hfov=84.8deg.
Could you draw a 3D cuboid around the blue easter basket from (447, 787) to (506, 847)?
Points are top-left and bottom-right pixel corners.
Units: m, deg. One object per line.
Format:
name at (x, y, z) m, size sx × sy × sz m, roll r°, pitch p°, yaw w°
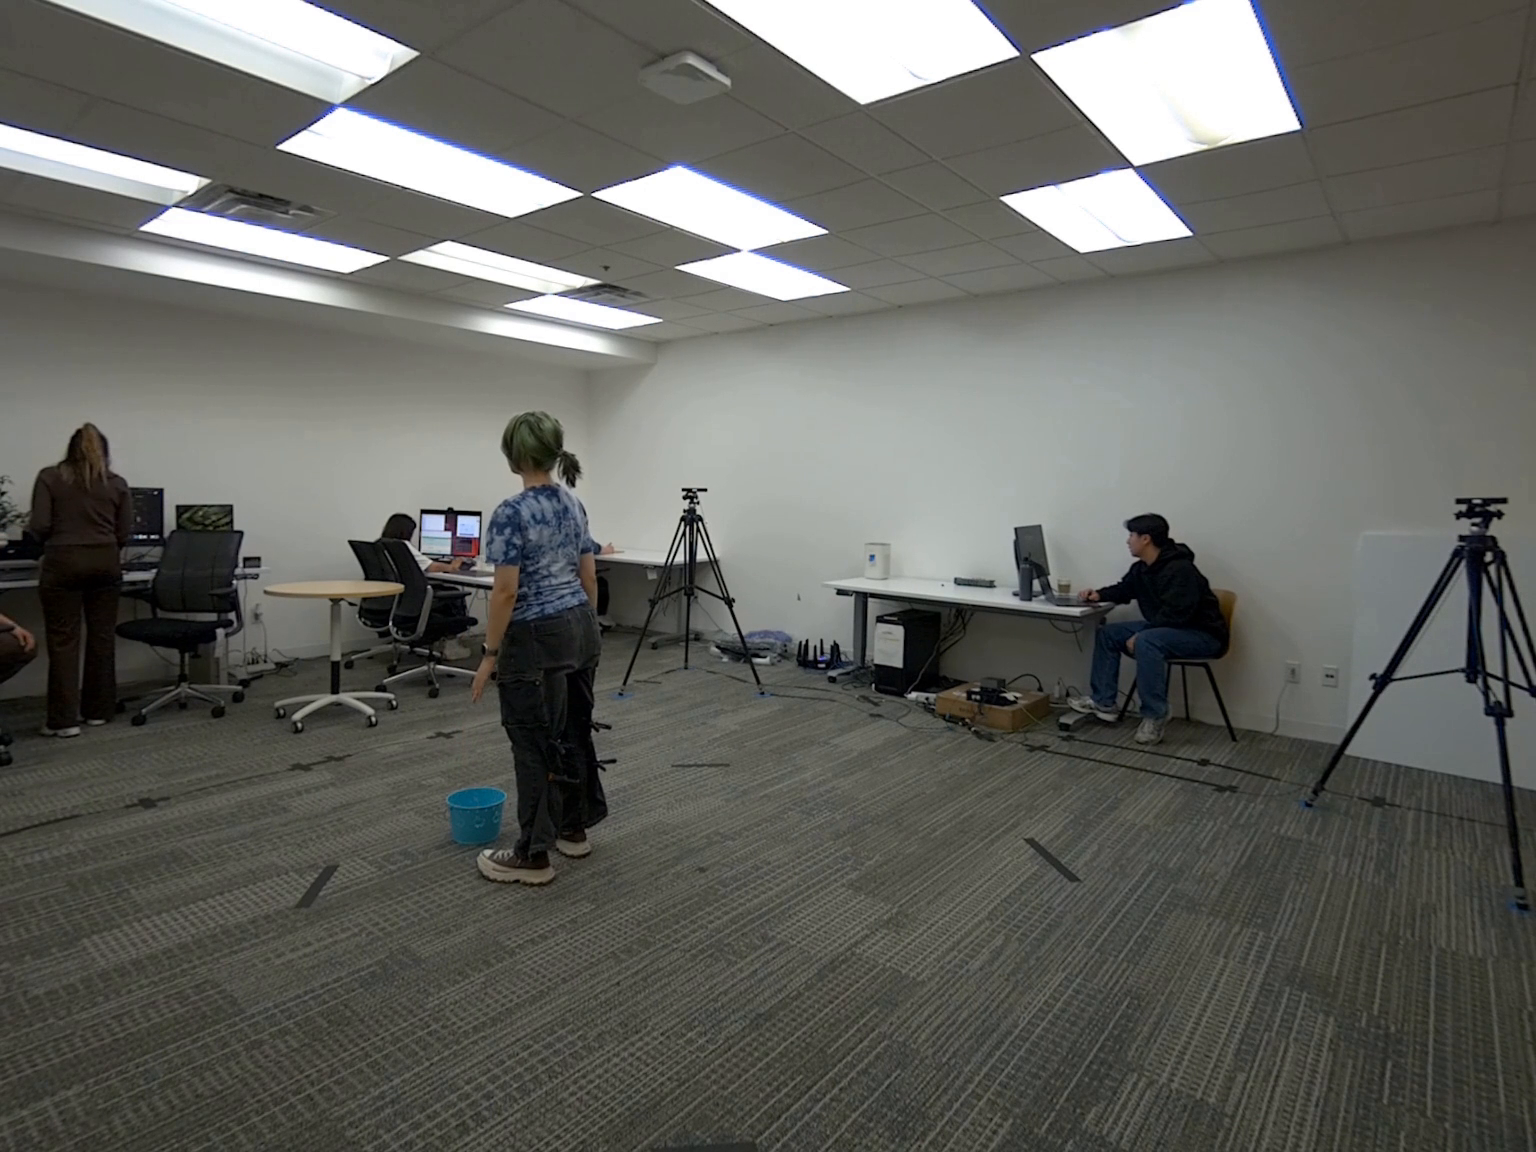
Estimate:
blue easter basket at (-1.172, 0.950, 3.386) m, size 0.243 × 0.155 × 0.245 m, roll 2°, pitch 5°, yaw -2°
